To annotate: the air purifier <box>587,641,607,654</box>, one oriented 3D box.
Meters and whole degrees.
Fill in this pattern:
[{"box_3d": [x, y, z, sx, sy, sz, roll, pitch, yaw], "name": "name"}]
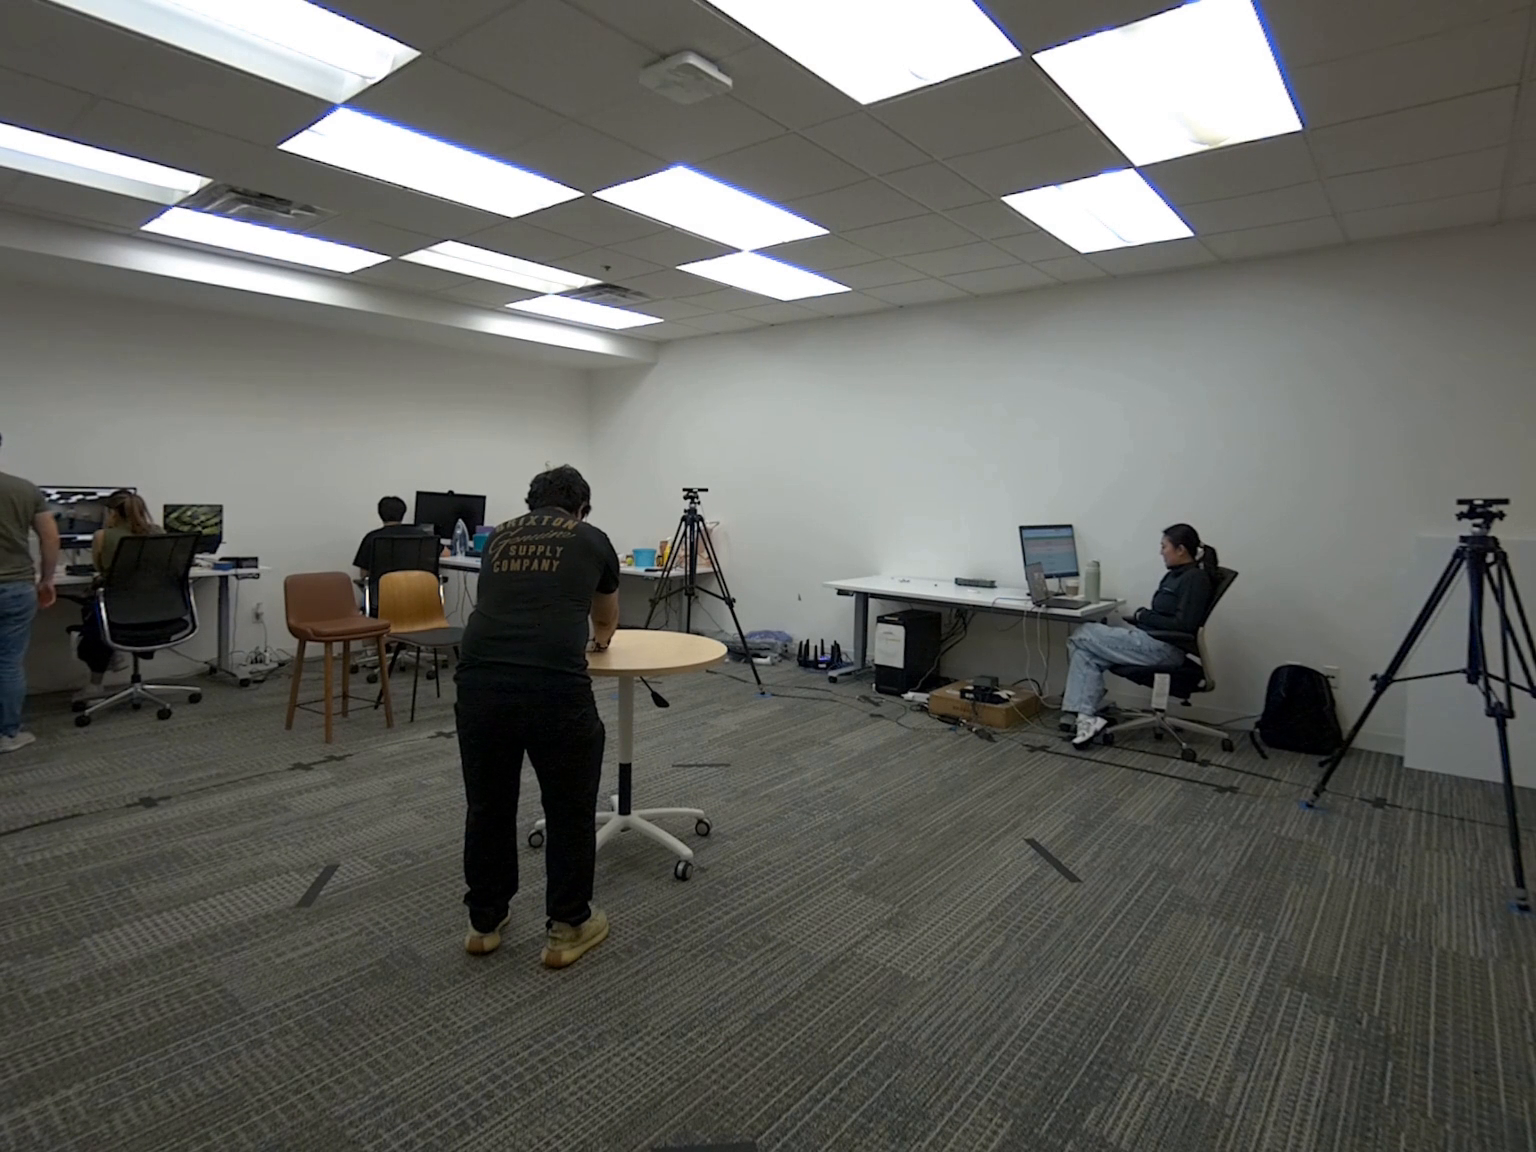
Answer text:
[{"box_3d": [-0.700, 0.135, 3.174, 0.171, 0.265, 0.172, 1, 3, -1], "name": "air purifier"}]
